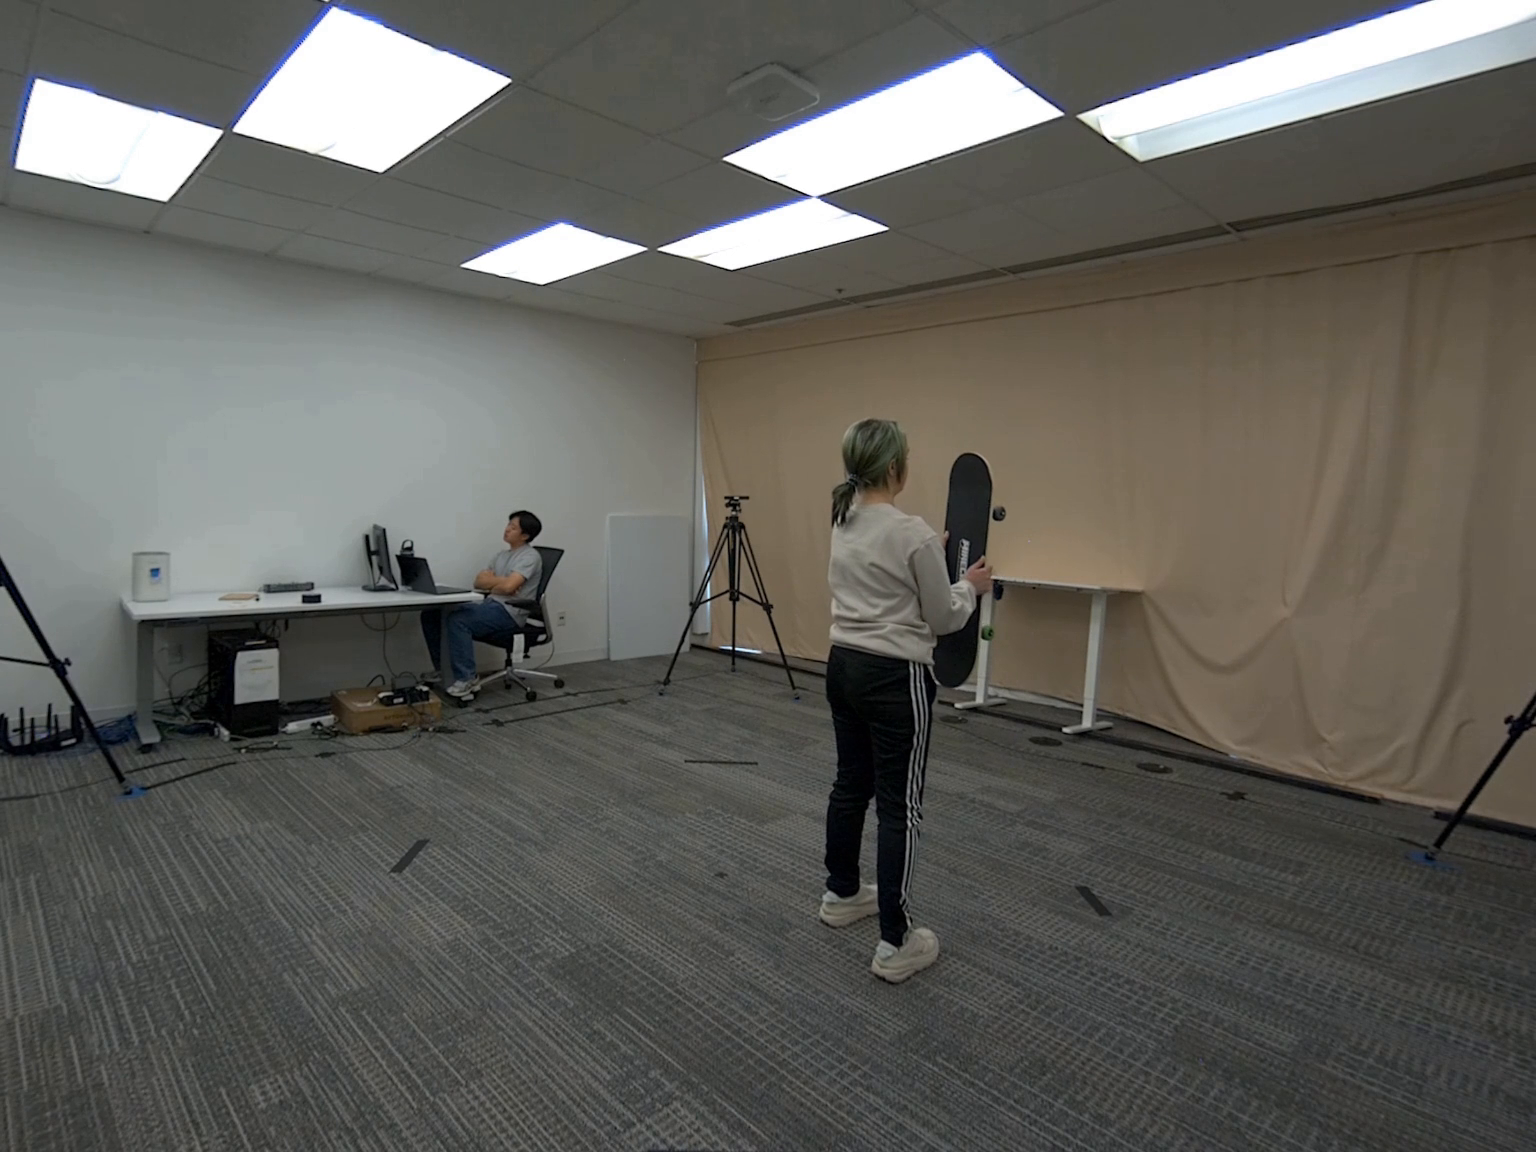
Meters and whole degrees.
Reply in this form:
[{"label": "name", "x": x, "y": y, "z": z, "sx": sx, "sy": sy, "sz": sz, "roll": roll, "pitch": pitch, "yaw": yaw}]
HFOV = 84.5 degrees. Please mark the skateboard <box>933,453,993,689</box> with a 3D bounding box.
[{"label": "skateboard", "x": 0.669, "y": -0.017, "z": 2.832, "sx": 0.107, "sy": 0.786, "sz": 0.198, "roll": 7, "pitch": -2, "yaw": -35}]
